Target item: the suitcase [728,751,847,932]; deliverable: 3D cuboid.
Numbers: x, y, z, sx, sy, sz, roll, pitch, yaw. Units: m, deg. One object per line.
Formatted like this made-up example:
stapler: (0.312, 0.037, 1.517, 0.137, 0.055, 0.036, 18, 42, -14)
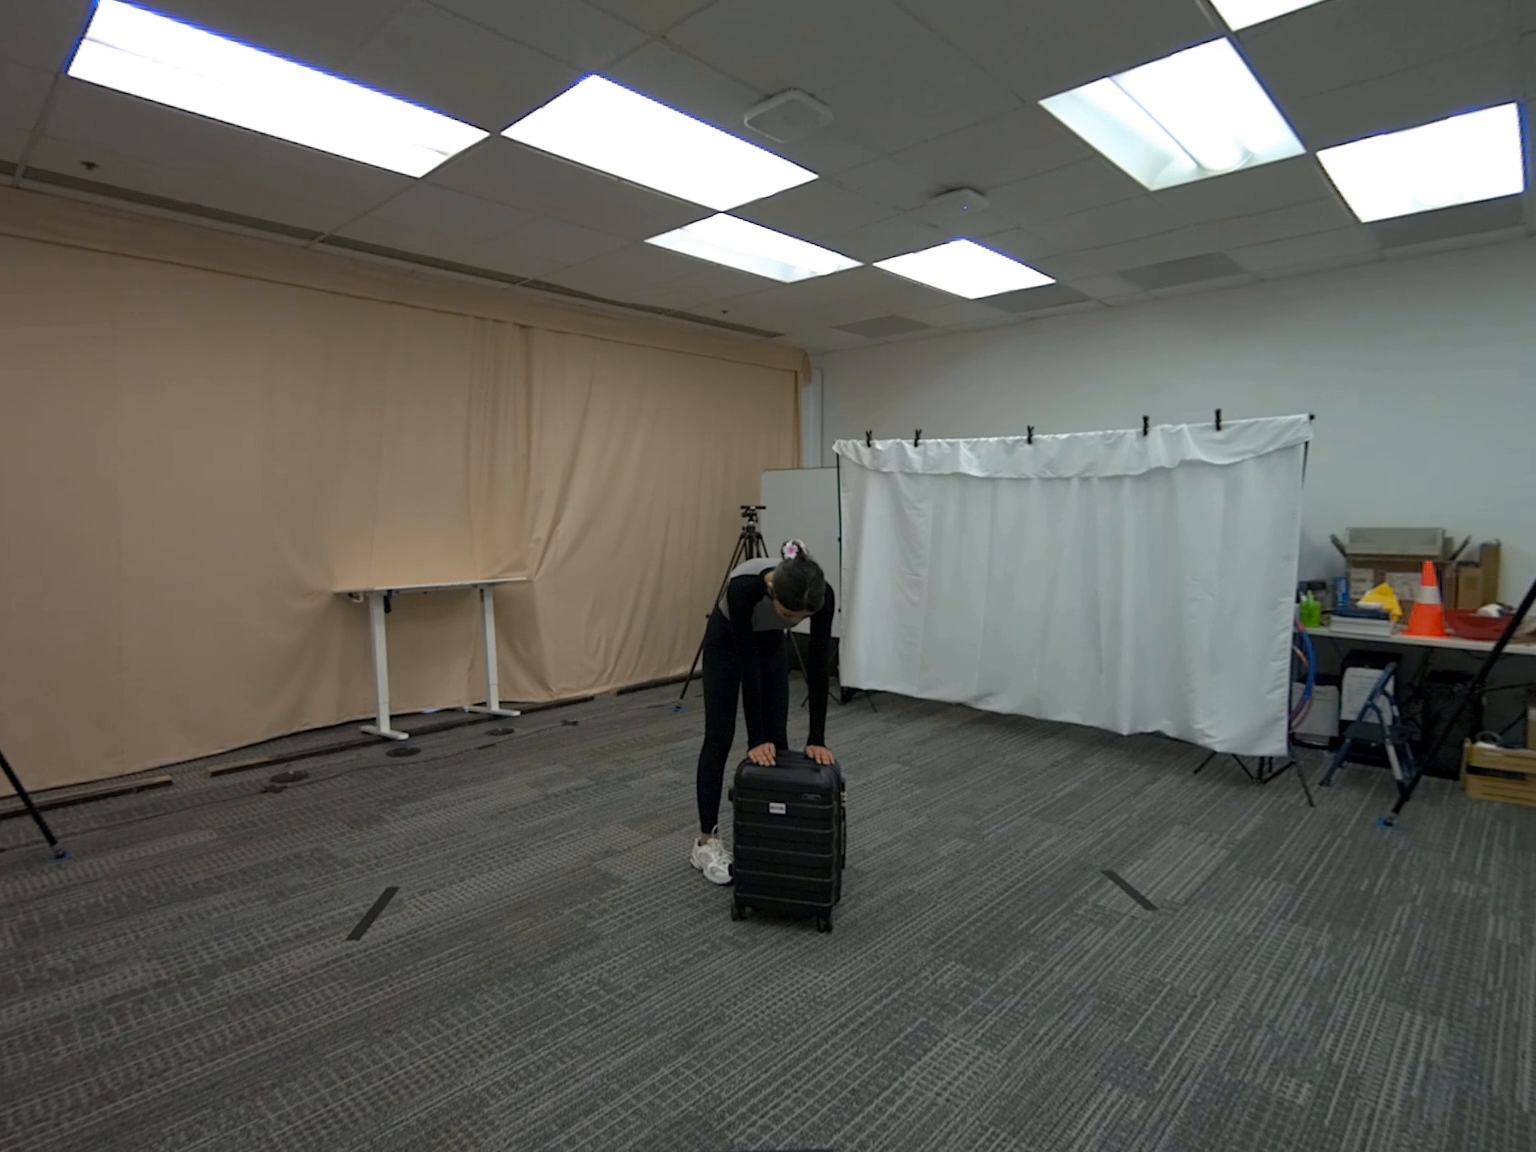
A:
suitcase: (0.075, 0.879, 2.866, 0.382, 0.548, 0.245, 1, 5, 16)
